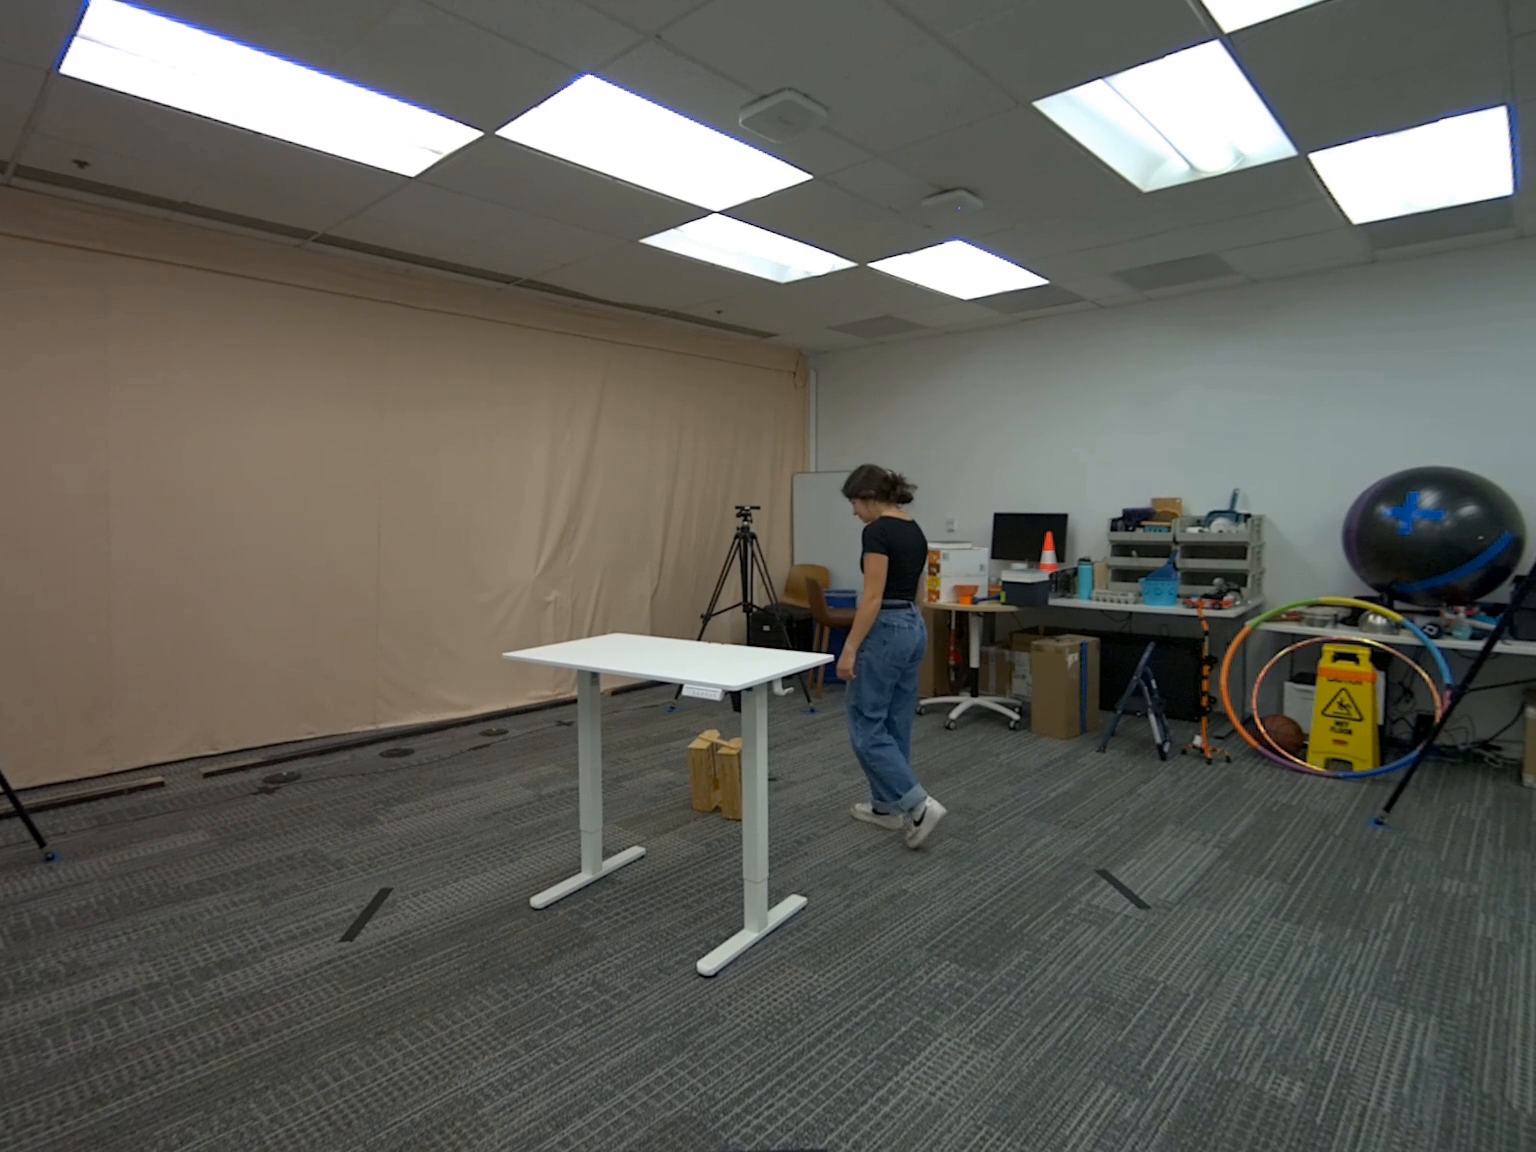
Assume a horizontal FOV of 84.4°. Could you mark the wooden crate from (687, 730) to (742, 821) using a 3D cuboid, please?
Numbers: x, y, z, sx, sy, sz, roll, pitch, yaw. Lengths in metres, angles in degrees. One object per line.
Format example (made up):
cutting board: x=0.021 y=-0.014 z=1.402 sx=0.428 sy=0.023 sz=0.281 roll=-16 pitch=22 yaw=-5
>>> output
wooden crate: x=-0.201 y=0.908 z=3.893 sx=0.279 sy=0.323 sz=0.297 roll=-2 pitch=8 yaw=21
